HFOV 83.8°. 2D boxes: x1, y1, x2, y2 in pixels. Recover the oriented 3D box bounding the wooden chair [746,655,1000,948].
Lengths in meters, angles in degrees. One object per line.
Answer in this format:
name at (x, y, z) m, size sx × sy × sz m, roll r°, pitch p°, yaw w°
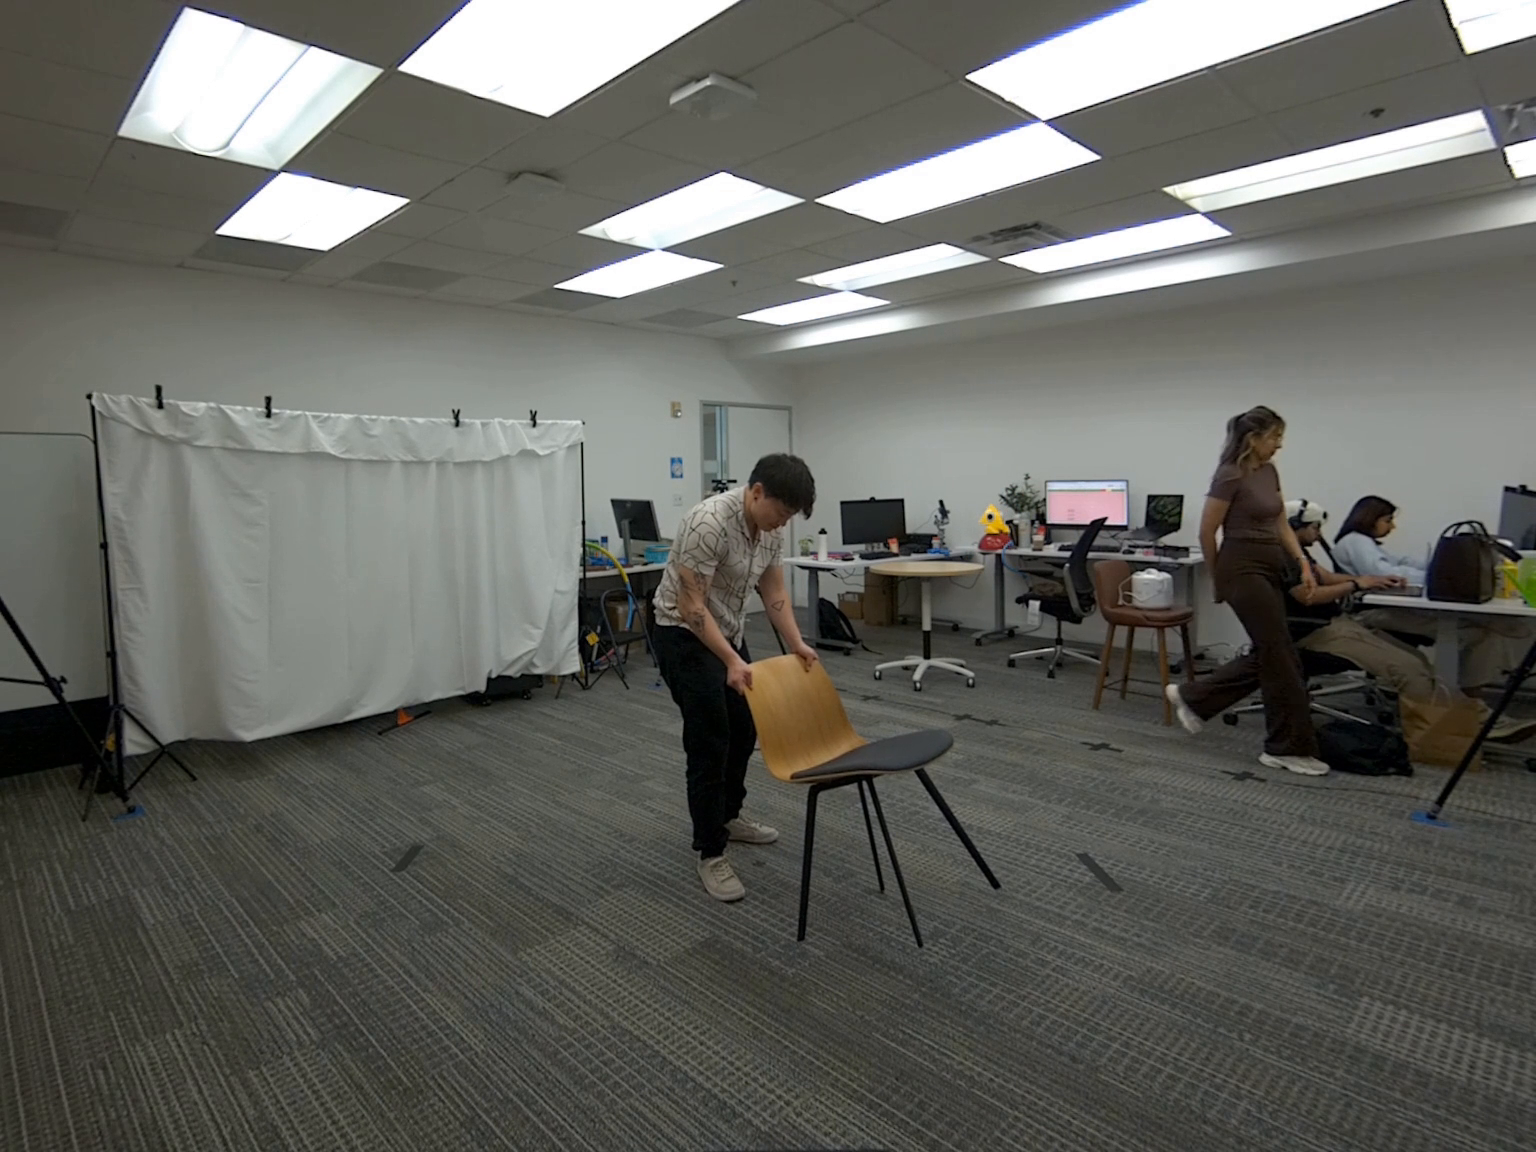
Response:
wooden chair at (0.295, 0.616, 2.646) m, size 0.465 × 0.890 × 0.529 m, roll -6°, pitch -17°, yaw -46°
